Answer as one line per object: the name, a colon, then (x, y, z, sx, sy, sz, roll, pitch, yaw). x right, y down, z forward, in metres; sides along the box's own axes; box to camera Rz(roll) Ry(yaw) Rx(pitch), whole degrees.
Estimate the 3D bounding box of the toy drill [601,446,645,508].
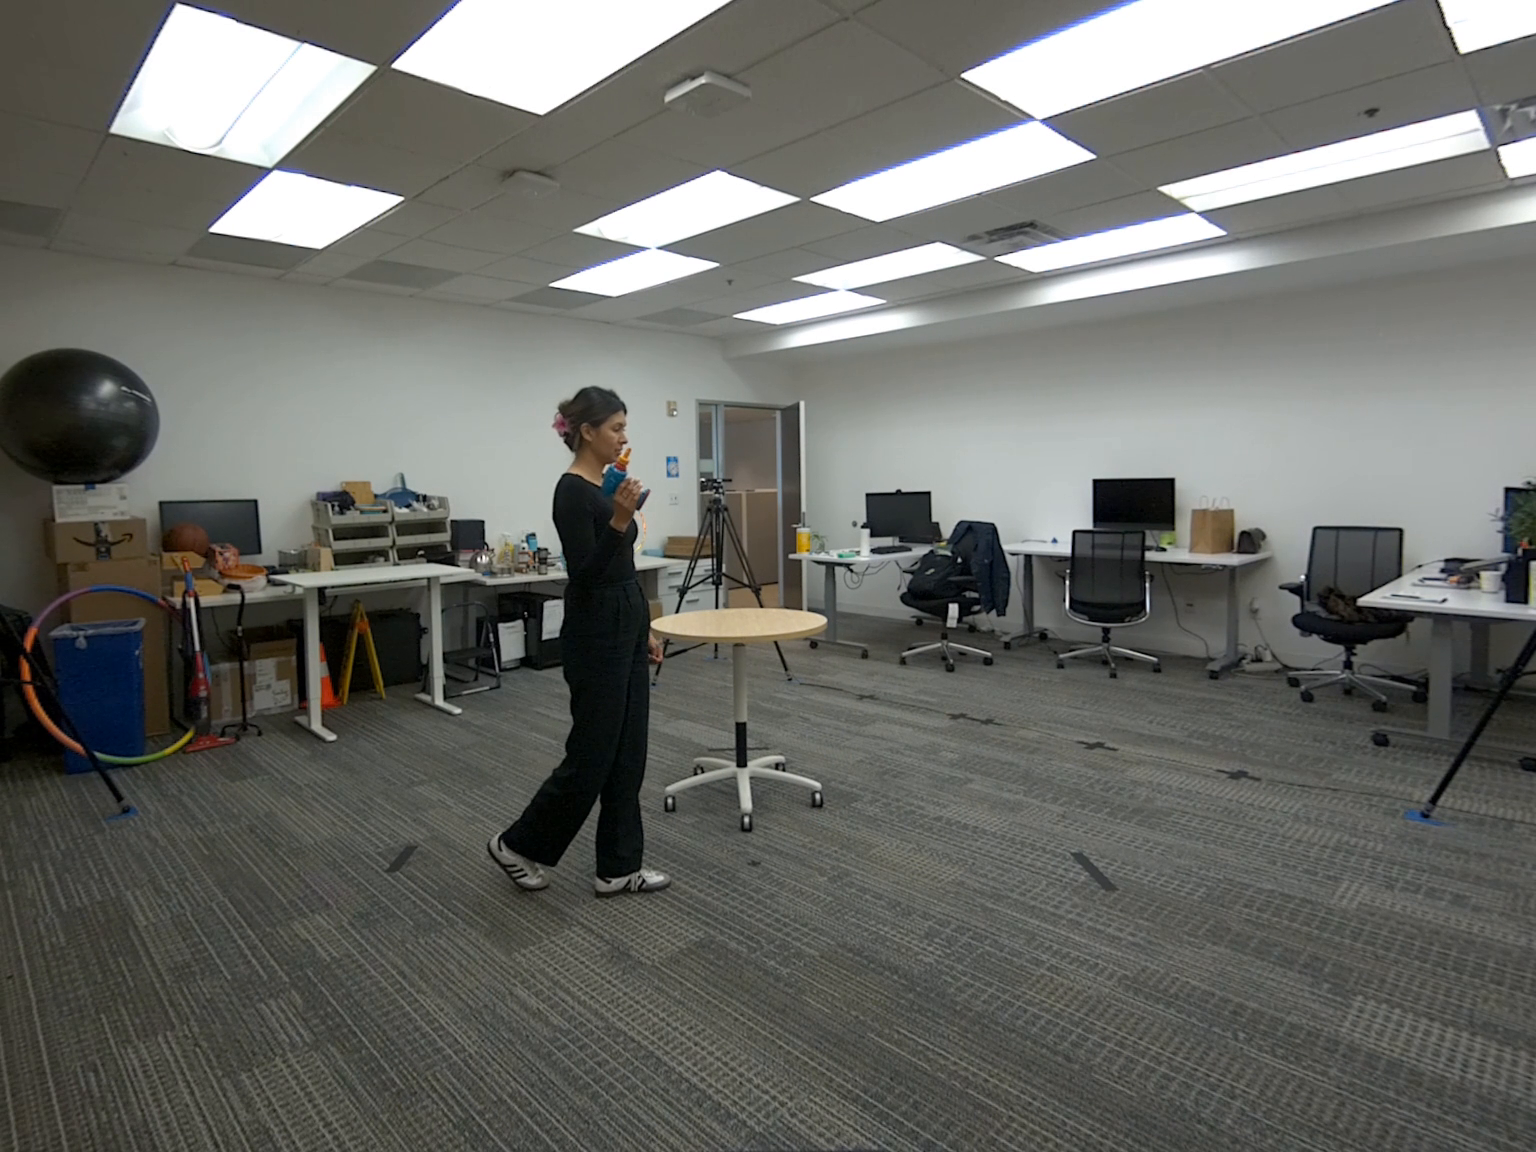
toy drill: (-0.417, -0.292, 2.544, 0.146, 0.169, 0.061, 29, 15, -2)
